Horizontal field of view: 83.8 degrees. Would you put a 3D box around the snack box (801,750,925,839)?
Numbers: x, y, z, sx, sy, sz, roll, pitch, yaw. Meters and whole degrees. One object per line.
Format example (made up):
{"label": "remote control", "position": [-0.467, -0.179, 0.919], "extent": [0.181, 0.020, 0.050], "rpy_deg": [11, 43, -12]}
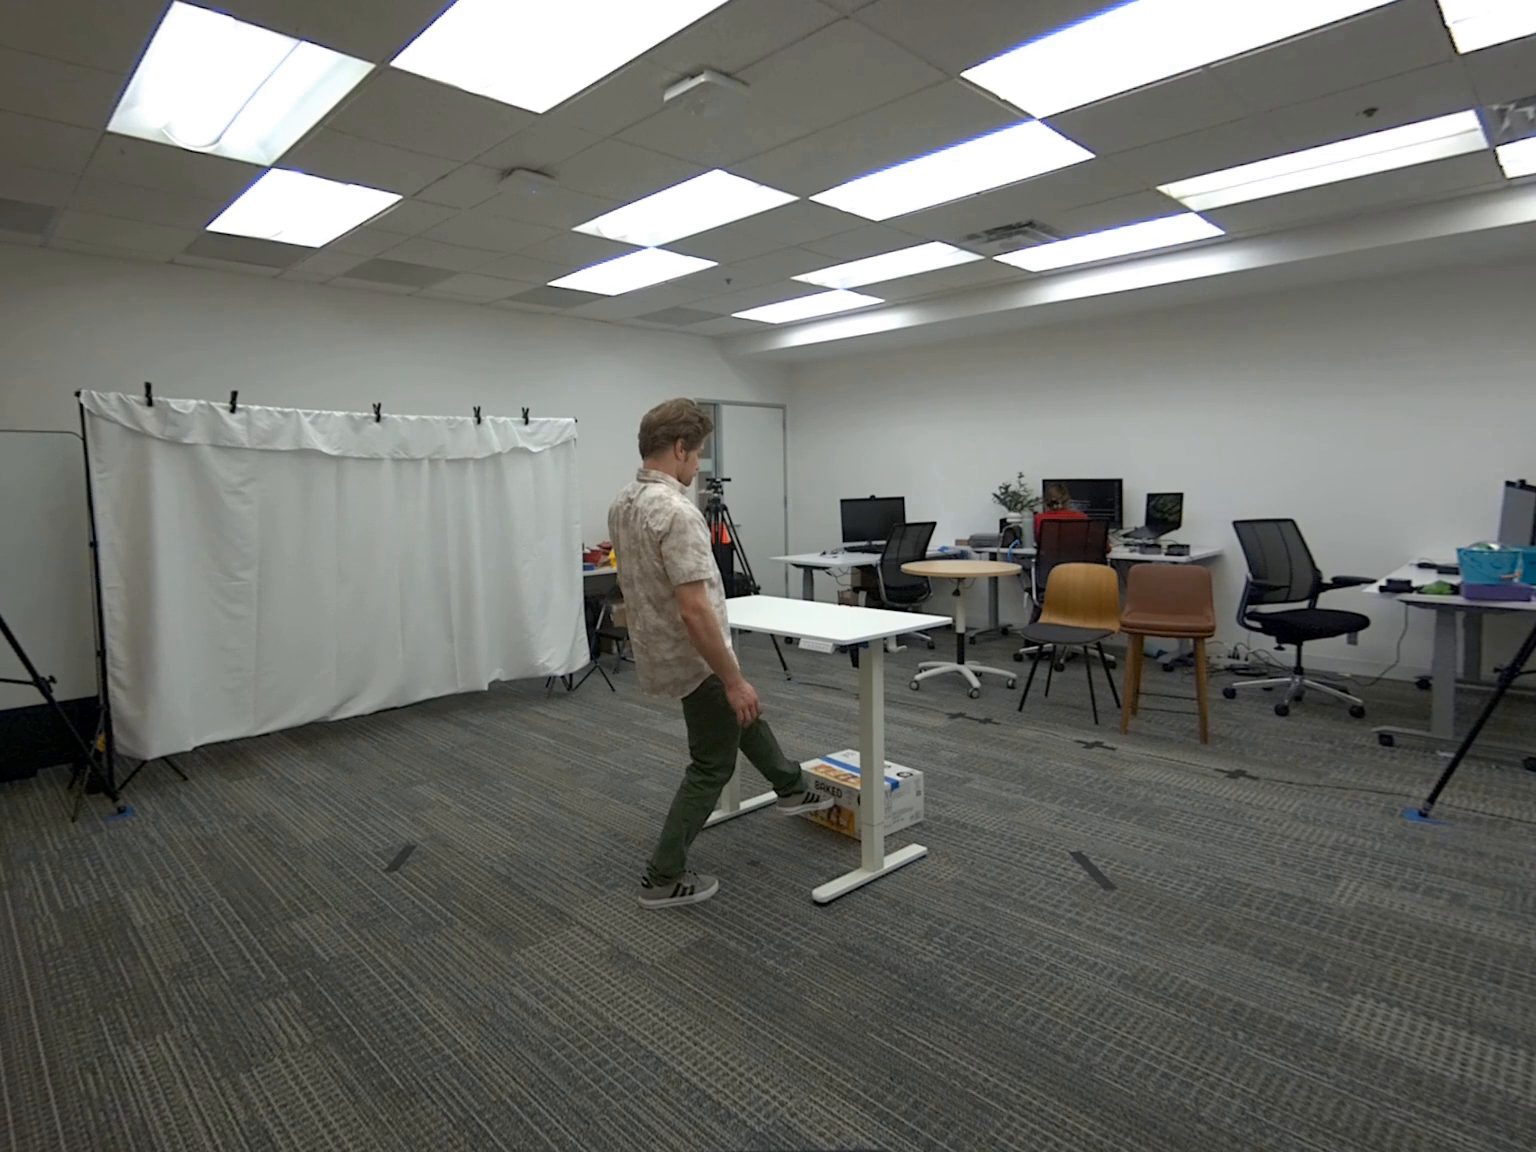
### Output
{"label": "snack box", "position": [0.366, 0.892, 3.494], "extent": [0.331, 0.205, 0.418], "rpy_deg": [-6, 7, -40]}
